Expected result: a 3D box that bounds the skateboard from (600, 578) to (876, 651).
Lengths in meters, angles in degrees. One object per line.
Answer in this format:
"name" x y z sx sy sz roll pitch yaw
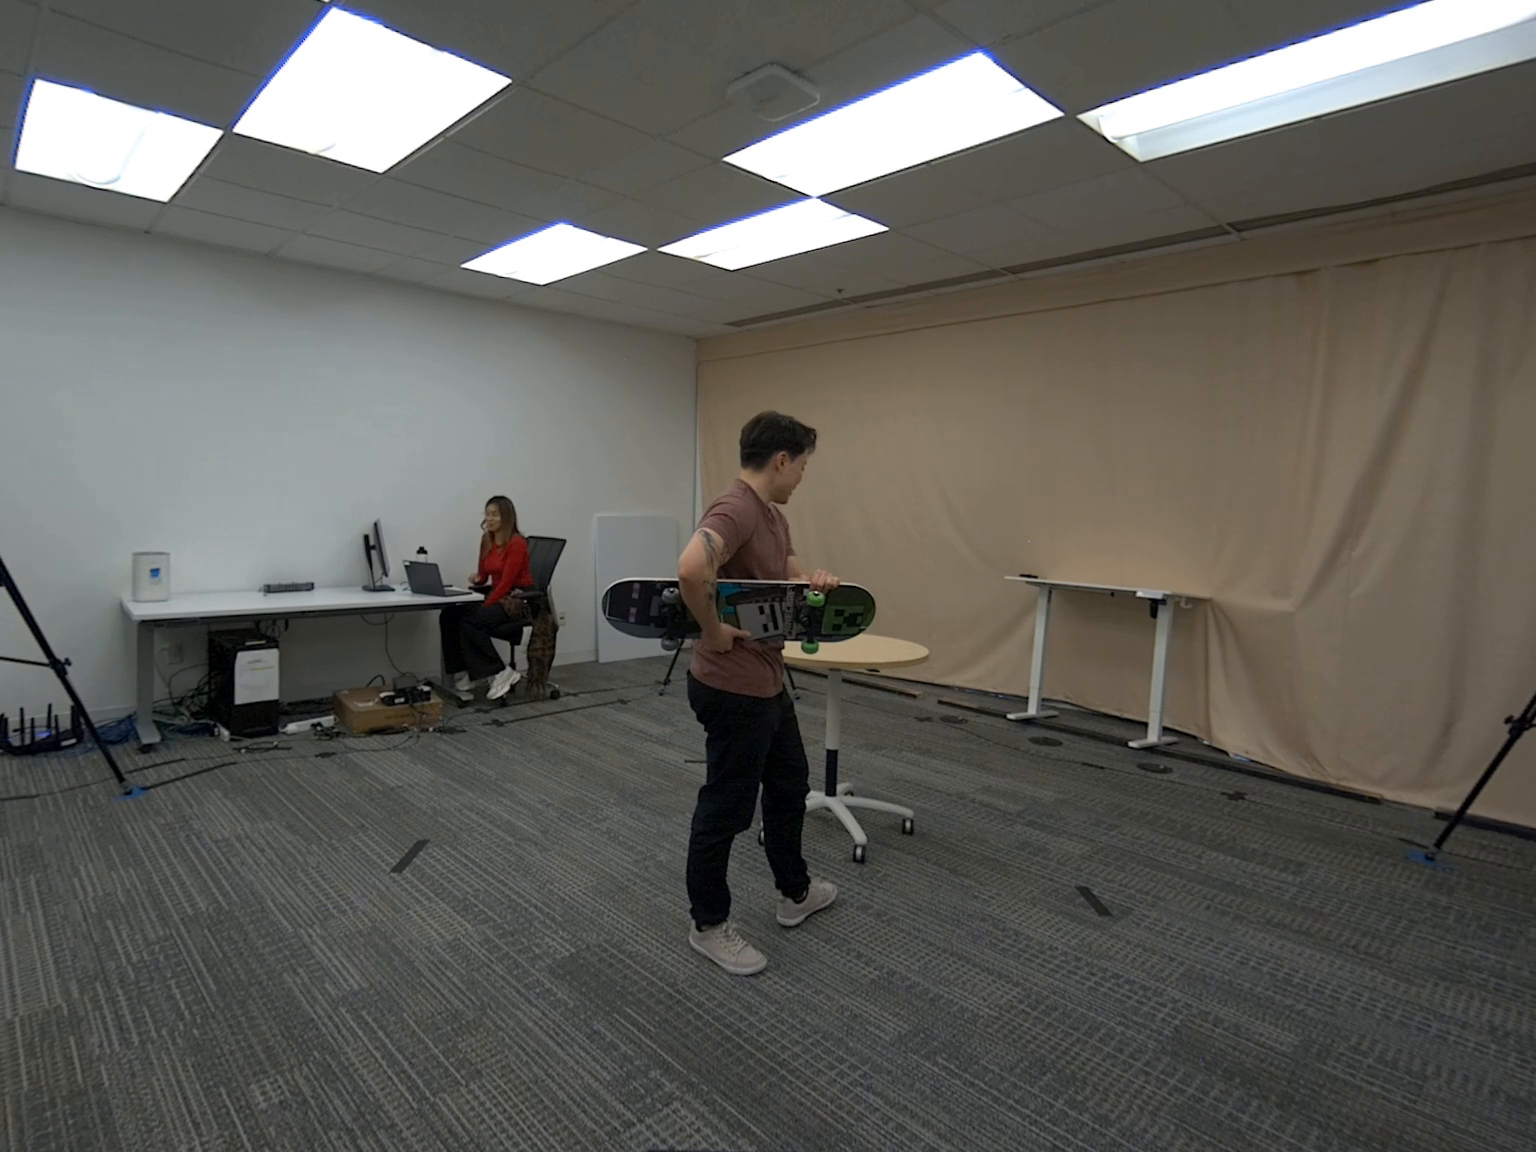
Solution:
"skateboard" -0.083 0.112 2.363 0.782 0.190 0.112 1 28 -5
